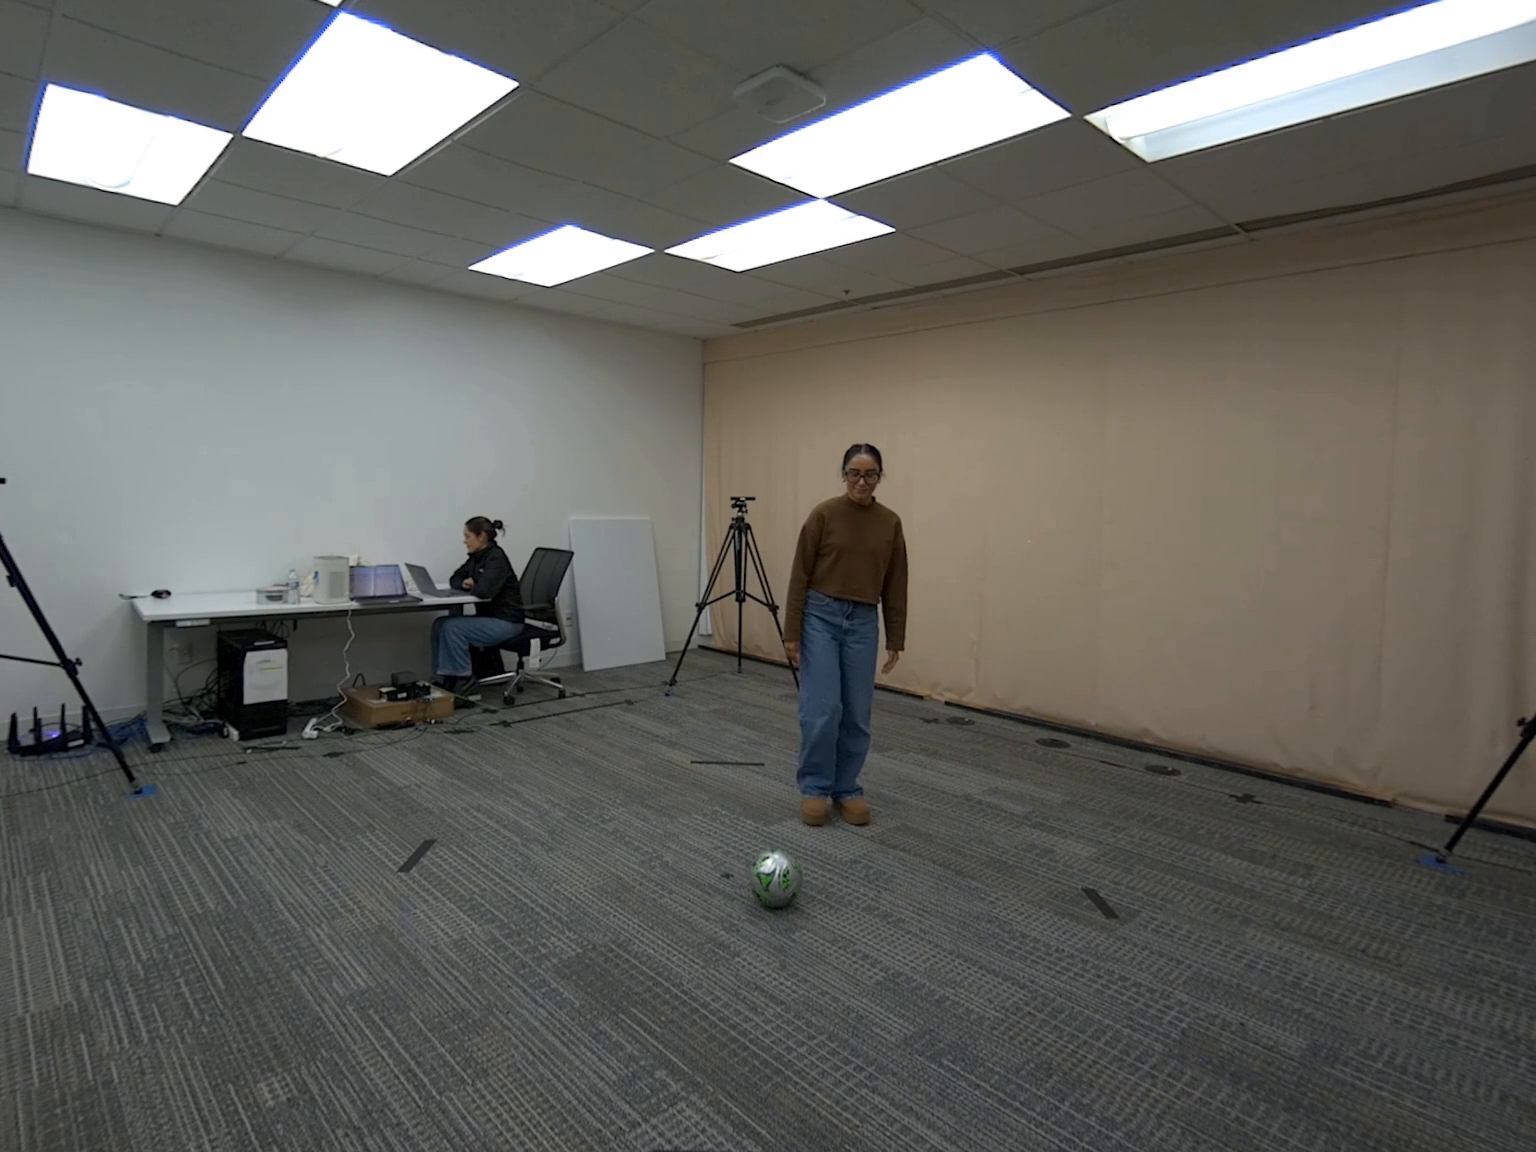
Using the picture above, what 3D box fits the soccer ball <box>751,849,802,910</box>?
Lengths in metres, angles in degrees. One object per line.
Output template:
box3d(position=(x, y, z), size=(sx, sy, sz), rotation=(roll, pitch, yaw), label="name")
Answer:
box3d(position=(0.022, 1.032, 2.884), size=(0.187, 0.187, 0.188), rotation=(1, 4, -1), label="soccer ball")
